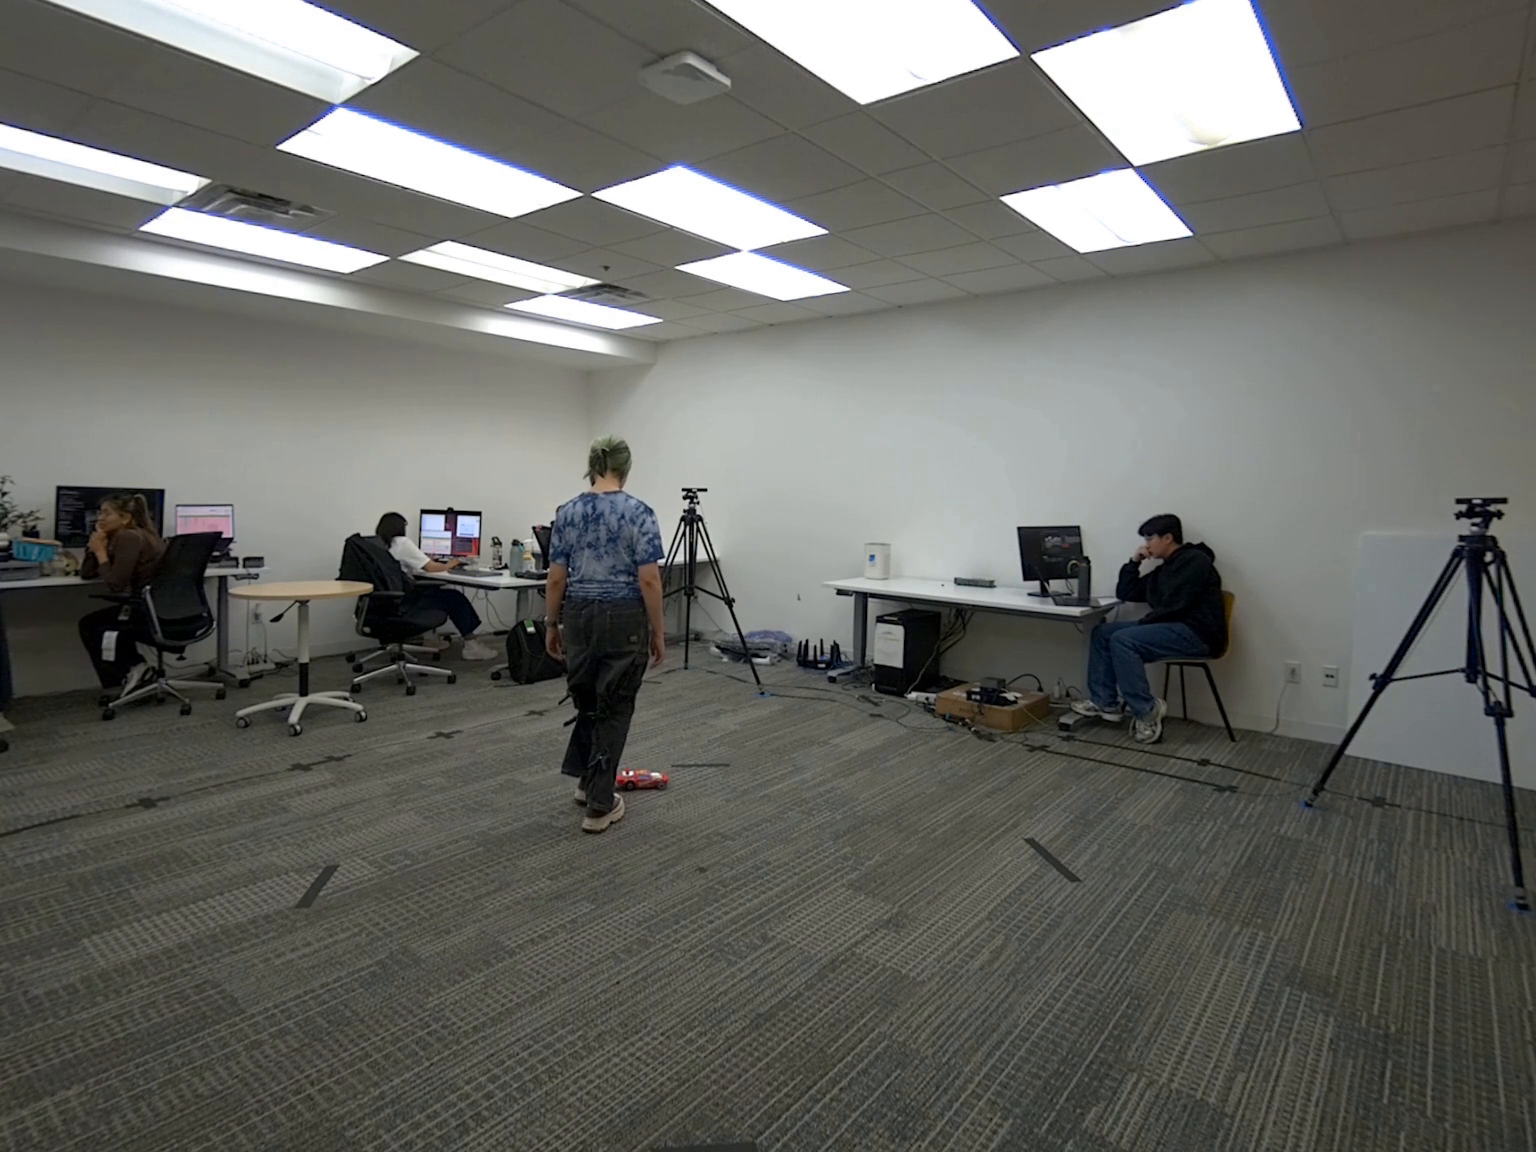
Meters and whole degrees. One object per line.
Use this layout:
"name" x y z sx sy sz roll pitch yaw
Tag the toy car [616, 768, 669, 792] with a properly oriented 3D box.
"toy car" -0.608 0.950 3.968 0.252 0.083 0.132 10 3 -9
